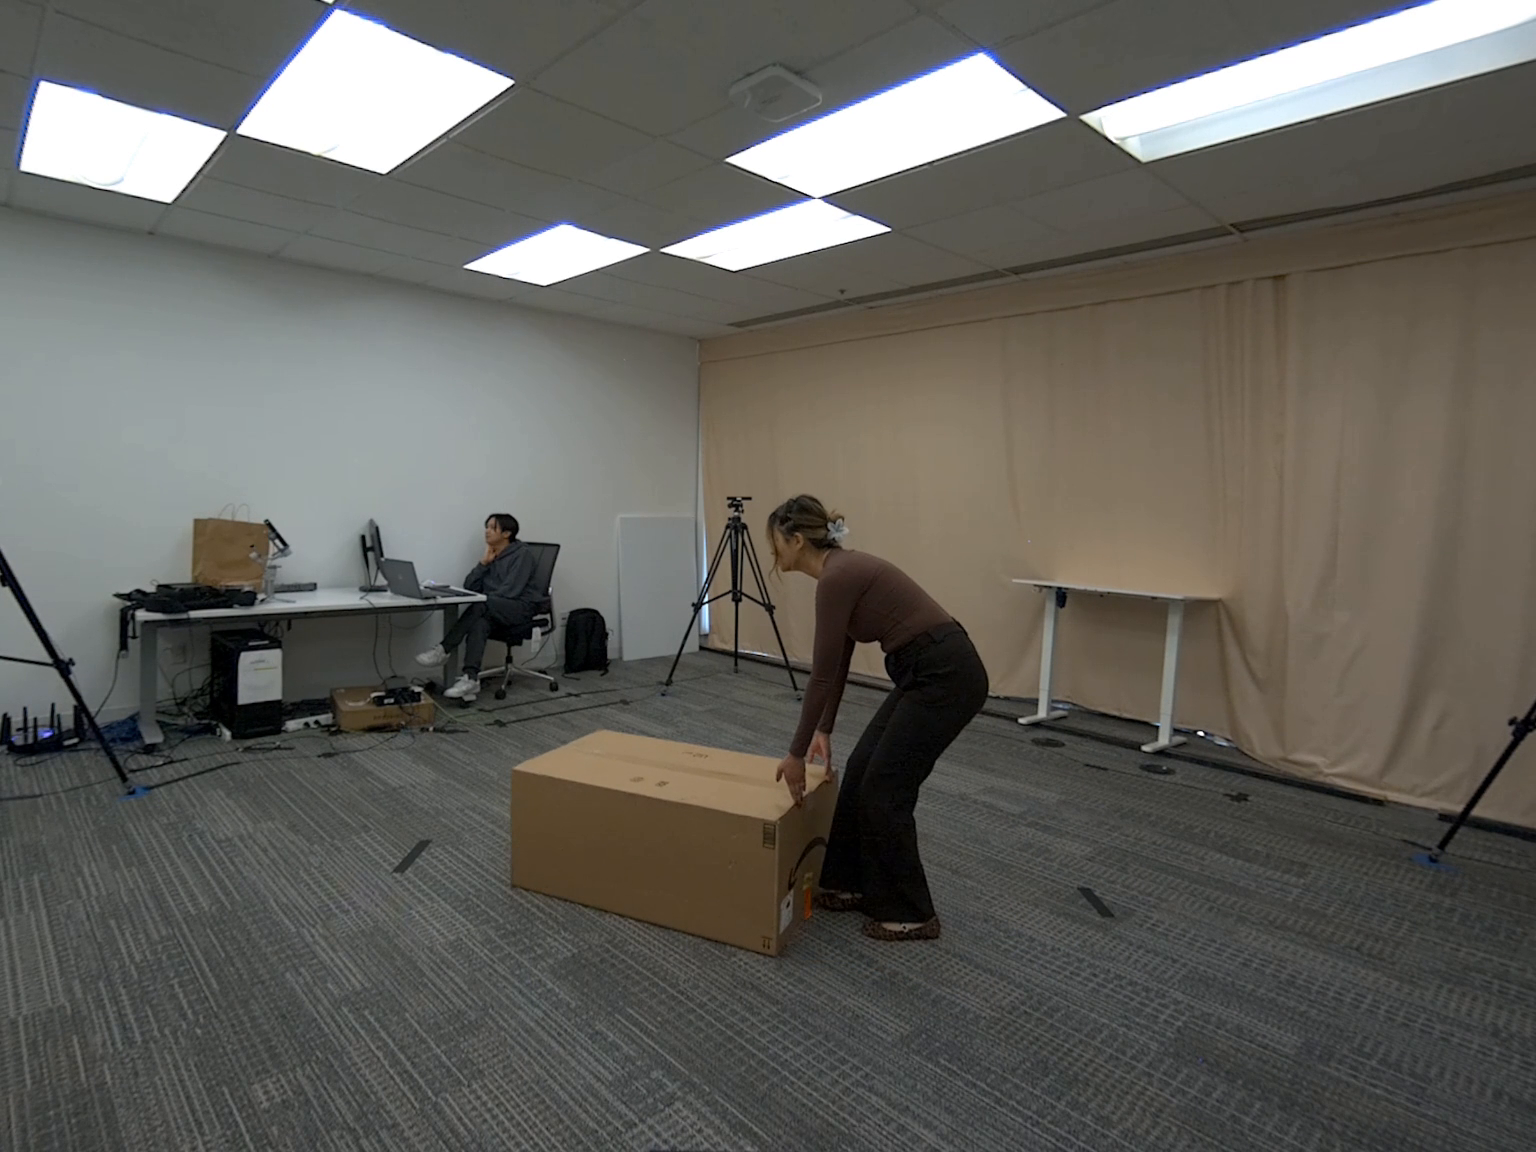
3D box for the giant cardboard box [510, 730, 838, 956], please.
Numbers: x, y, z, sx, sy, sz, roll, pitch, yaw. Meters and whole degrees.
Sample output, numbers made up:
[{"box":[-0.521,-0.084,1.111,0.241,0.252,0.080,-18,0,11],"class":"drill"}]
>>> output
[{"box":[-0.335,0.899,3.012,1.047,0.446,0.574,4,4,25],"class":"giant cardboard box"}]
